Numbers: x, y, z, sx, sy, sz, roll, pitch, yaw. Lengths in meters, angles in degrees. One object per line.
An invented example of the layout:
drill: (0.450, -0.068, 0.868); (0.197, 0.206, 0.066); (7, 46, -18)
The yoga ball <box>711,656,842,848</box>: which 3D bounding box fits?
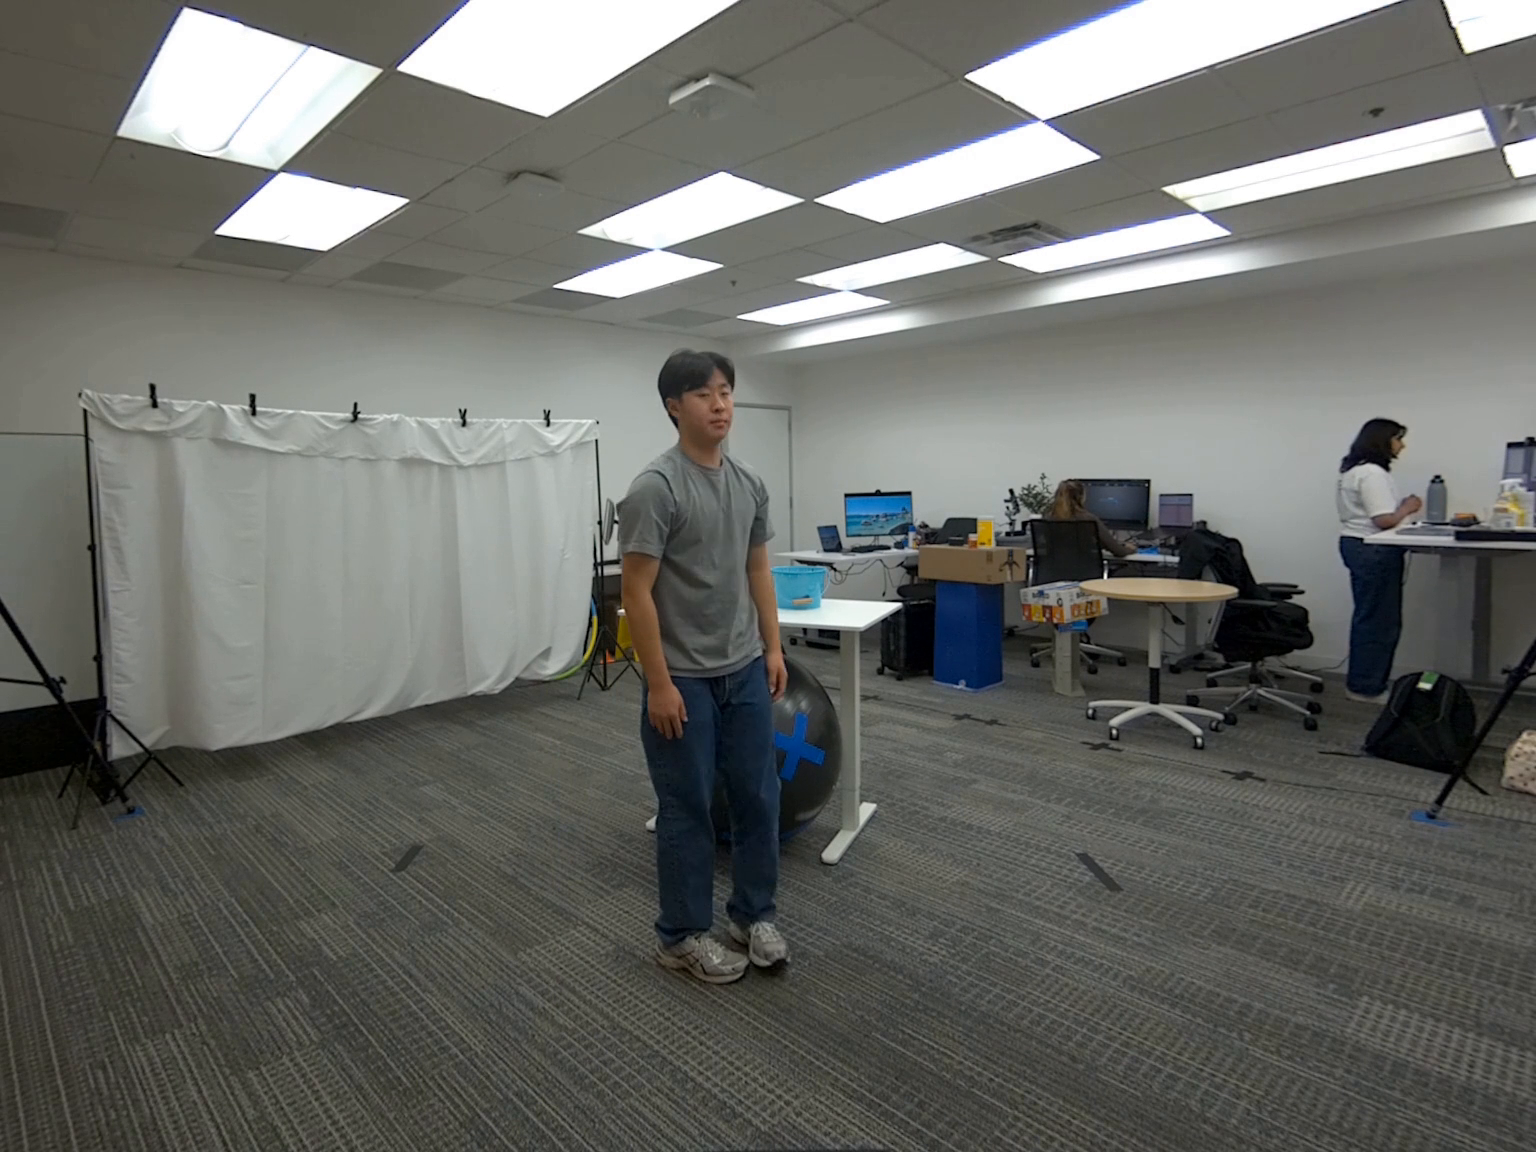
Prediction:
yoga ball: (-0.091, 0.648, 3.304); (0.757, 0.755, 0.762); (-1, 5, -2)
